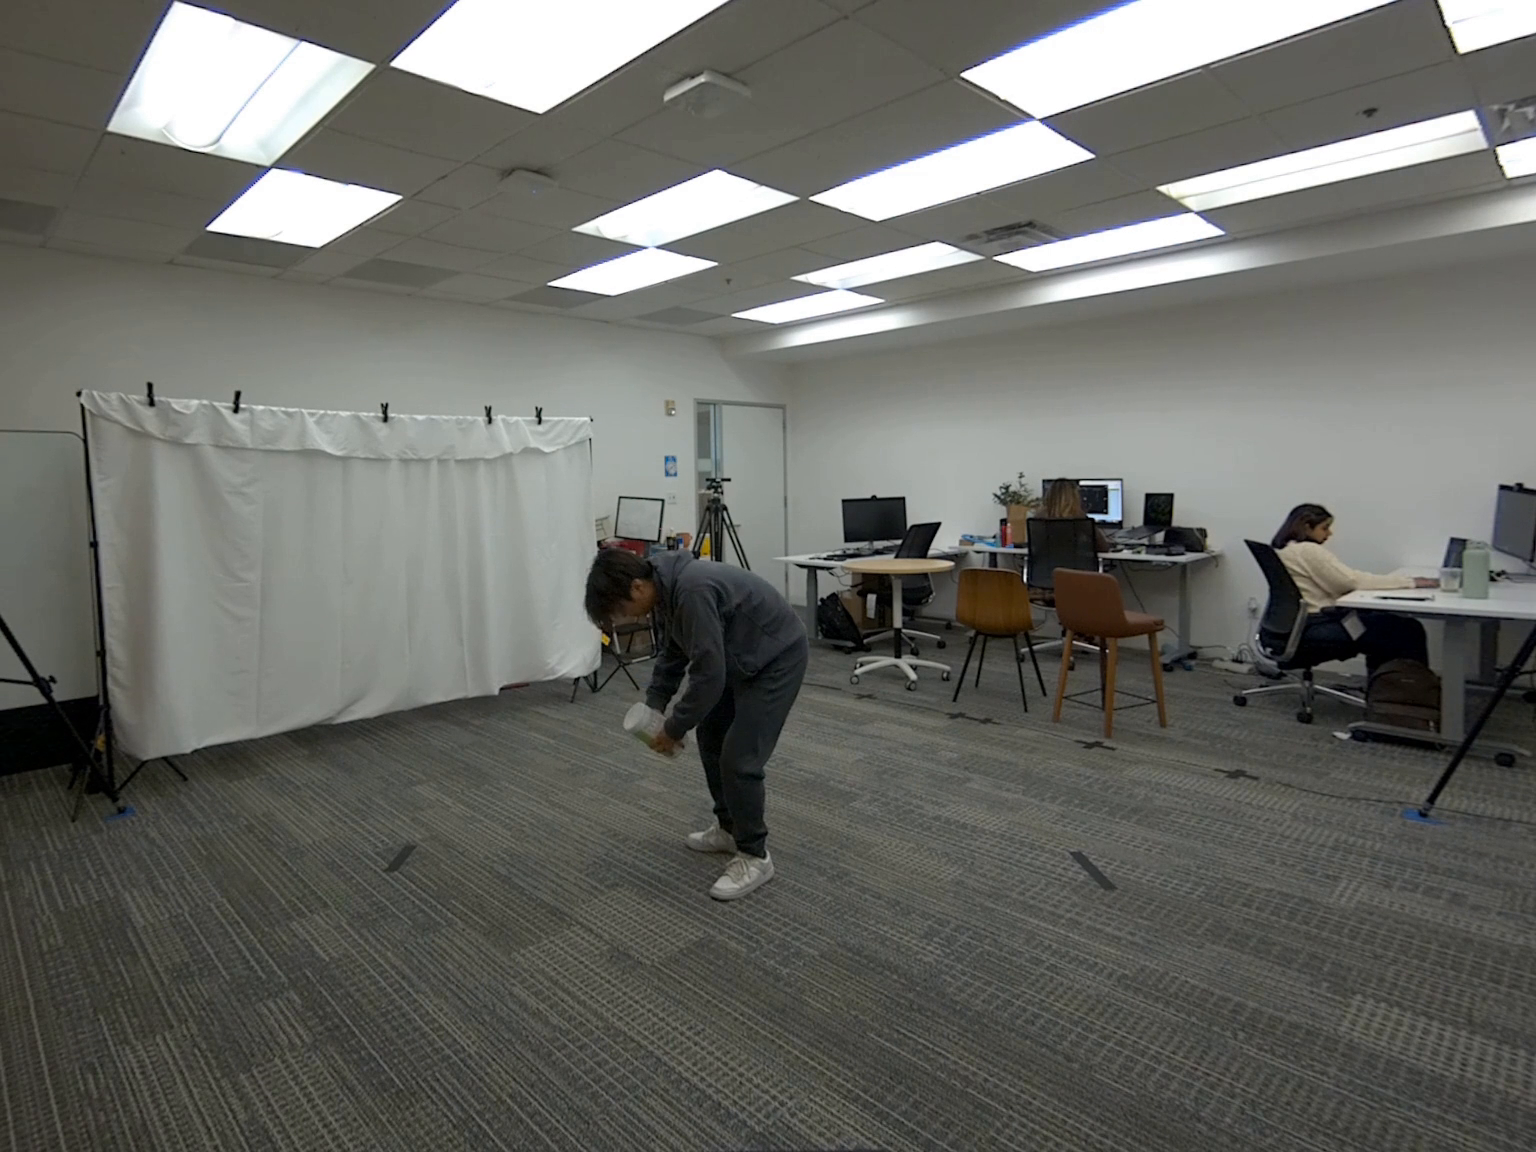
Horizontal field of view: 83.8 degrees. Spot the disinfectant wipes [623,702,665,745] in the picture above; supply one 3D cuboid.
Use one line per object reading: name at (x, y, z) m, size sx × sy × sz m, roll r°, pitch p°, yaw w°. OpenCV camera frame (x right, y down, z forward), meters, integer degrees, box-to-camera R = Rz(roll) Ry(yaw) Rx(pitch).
disinfectant wipes at (-0.380, 0.531, 2.968) m, size 0.212 × 0.118 × 0.120 m, roll 36°, pitch -10°, yaw -20°
